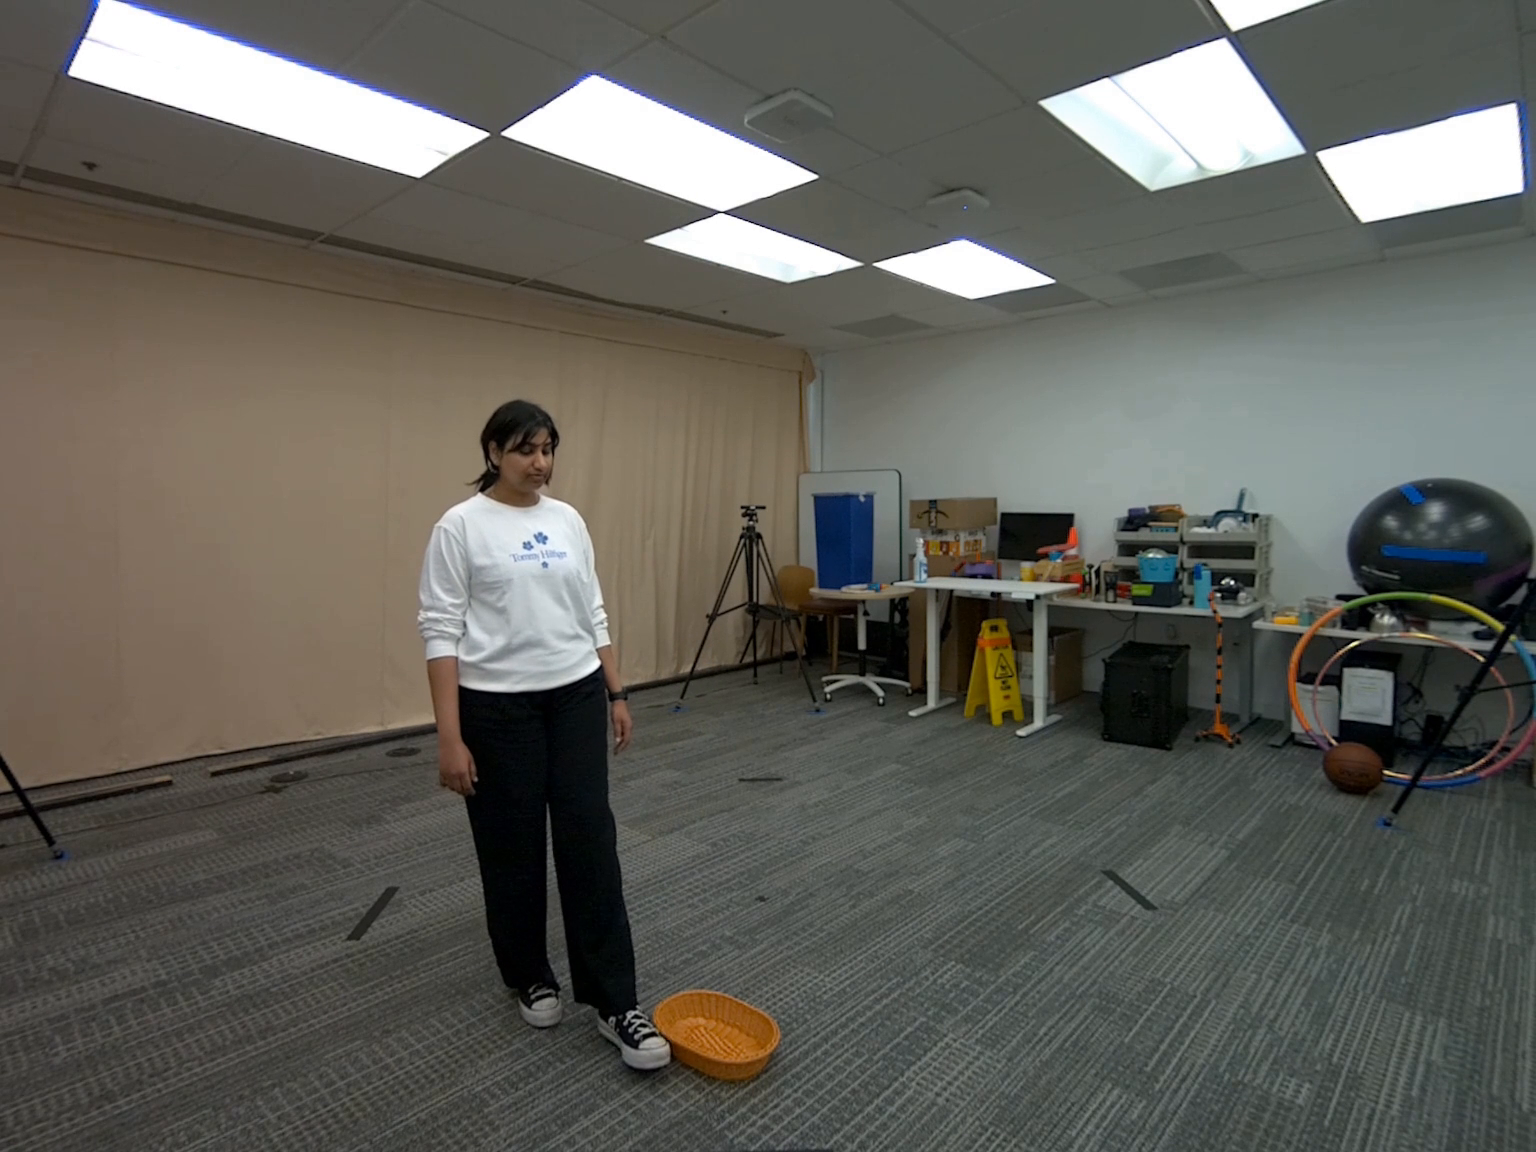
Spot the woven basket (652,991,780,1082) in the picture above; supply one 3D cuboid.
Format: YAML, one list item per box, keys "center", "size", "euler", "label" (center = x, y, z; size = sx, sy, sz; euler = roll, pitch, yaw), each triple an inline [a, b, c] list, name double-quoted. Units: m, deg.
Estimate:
- center: [-0.122, 1.175, 2.151]
  size: [0.362, 0.073, 0.245]
  euler: [4, 5, 40]
  label: "woven basket"
